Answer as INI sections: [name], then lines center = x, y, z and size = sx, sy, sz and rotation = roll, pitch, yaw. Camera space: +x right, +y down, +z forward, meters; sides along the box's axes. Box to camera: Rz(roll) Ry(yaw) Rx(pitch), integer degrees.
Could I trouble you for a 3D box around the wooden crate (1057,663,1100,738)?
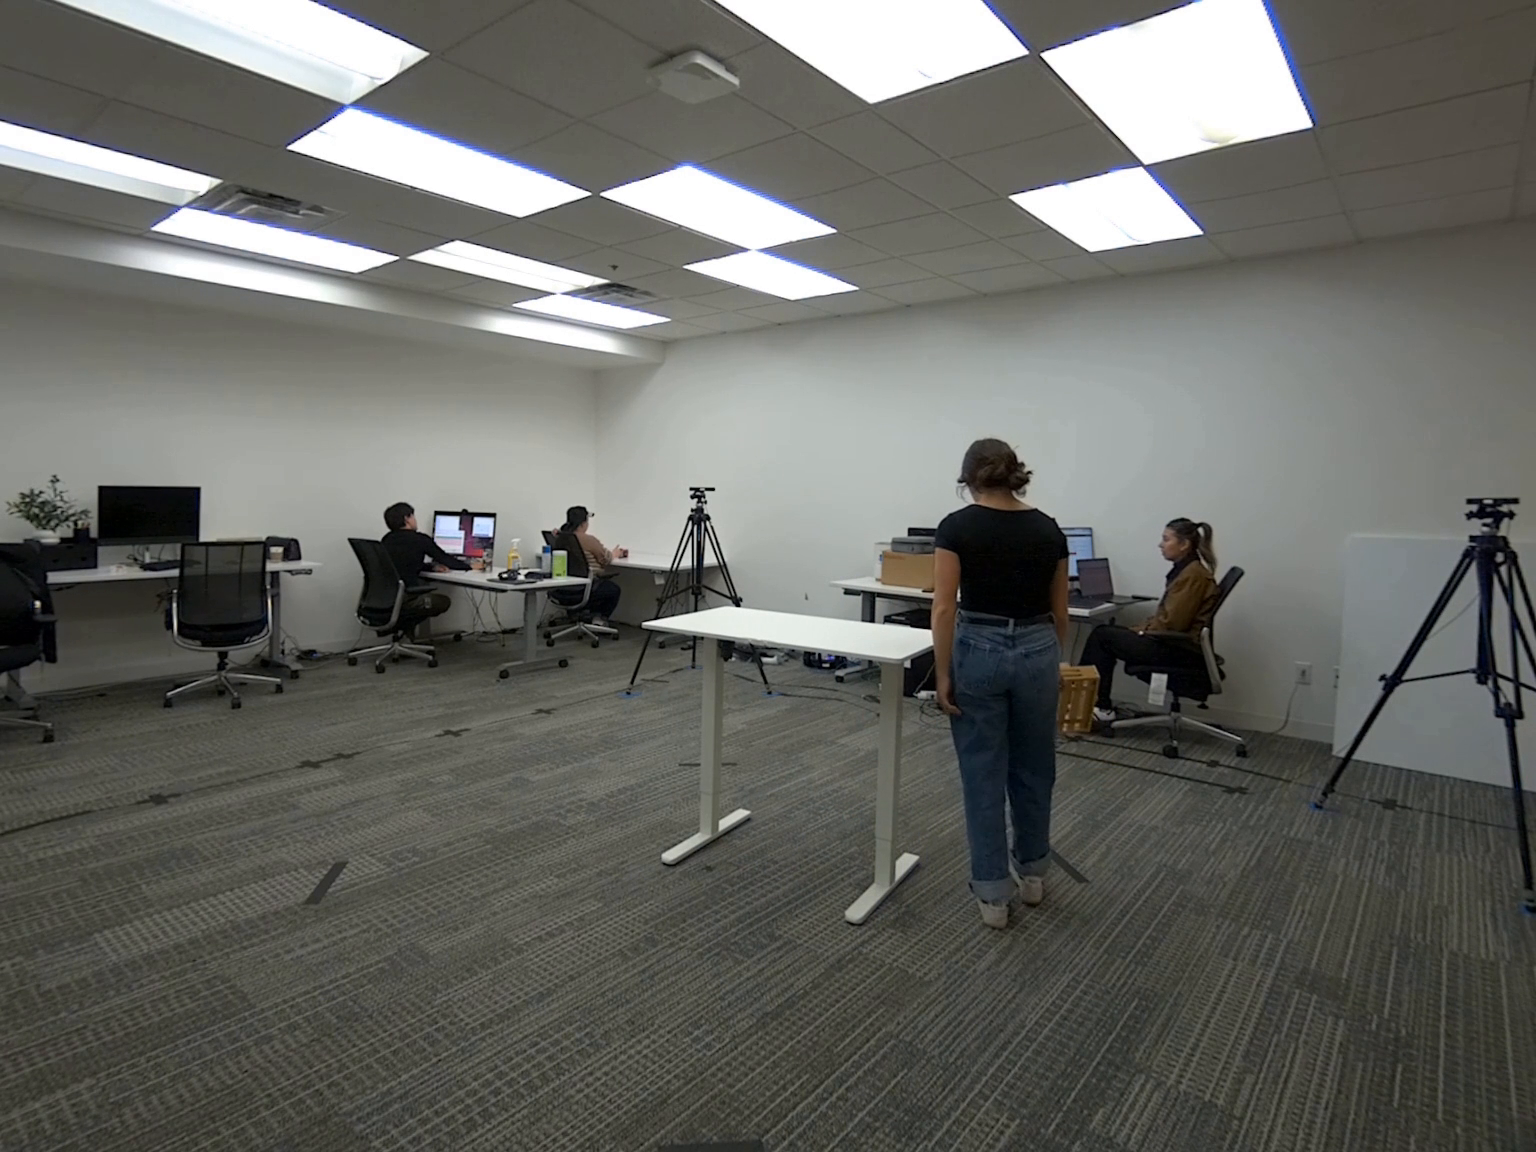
[wooden crate]
center = 1.003, 0.424, 3.161
size = 0.322, 0.296, 0.280
rotation = -1, 23, -7
